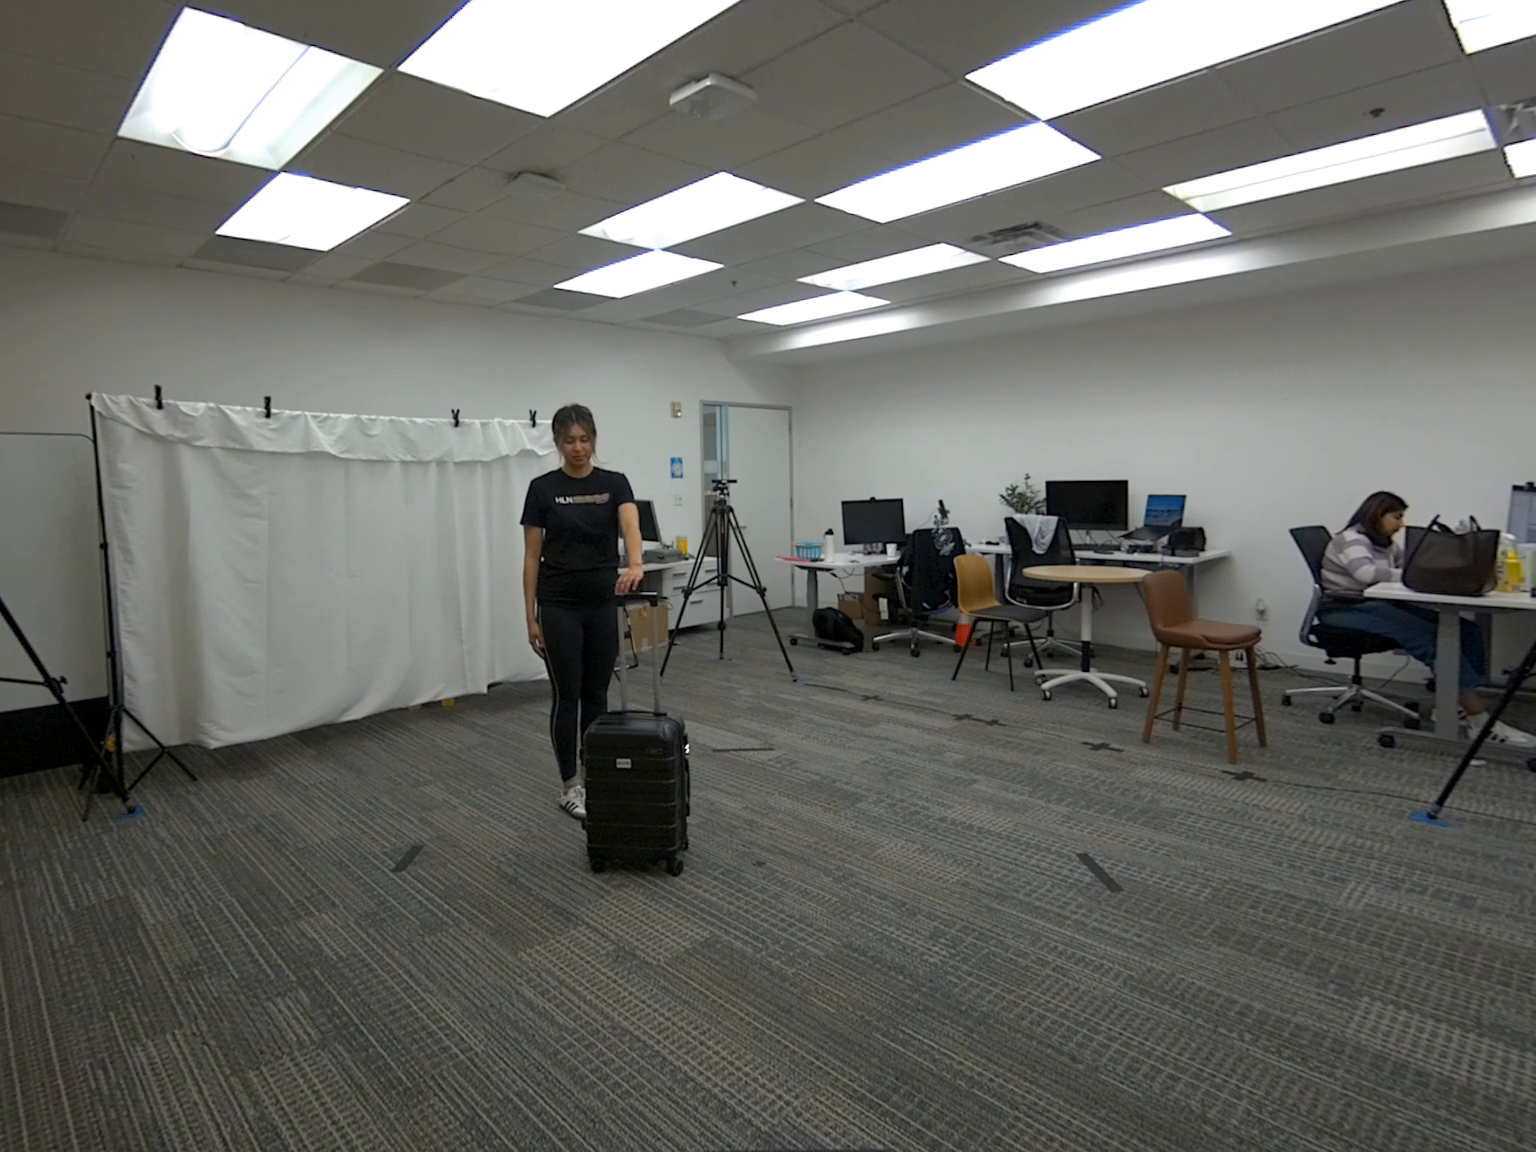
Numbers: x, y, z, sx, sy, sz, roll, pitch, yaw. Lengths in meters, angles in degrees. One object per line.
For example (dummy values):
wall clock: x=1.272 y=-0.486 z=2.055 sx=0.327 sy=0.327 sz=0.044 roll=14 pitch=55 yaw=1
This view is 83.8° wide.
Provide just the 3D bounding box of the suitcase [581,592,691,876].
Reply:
suitcase: x=-0.481 y=0.577 z=3.111 sx=0.386 sy=0.973 sz=0.257 roll=0 pitch=6 yaw=5
